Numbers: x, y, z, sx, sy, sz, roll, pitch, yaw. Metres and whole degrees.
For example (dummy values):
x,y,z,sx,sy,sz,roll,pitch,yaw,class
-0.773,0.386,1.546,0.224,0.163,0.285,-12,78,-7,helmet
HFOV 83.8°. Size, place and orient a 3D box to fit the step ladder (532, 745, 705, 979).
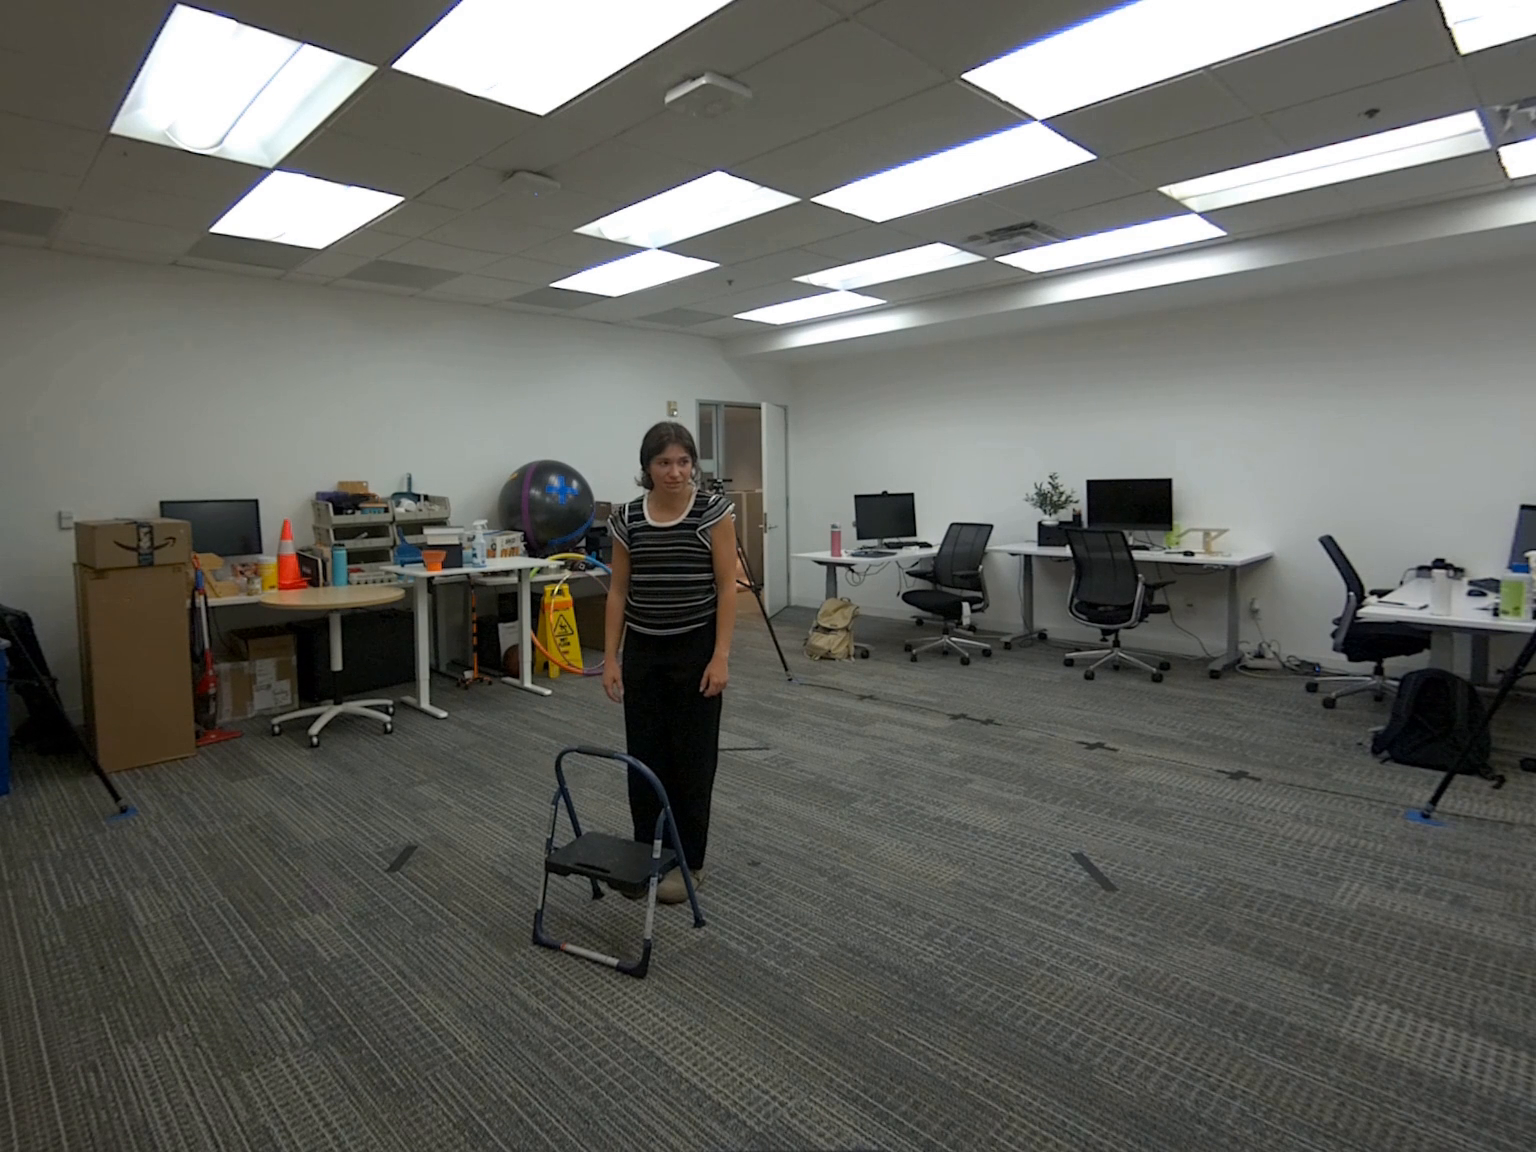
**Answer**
x,y,z,sx,sy,sz,roll,pitch,yaw,class
-0.466,0.810,2.625,0.441,0.604,0.342,1,5,28,step ladder
